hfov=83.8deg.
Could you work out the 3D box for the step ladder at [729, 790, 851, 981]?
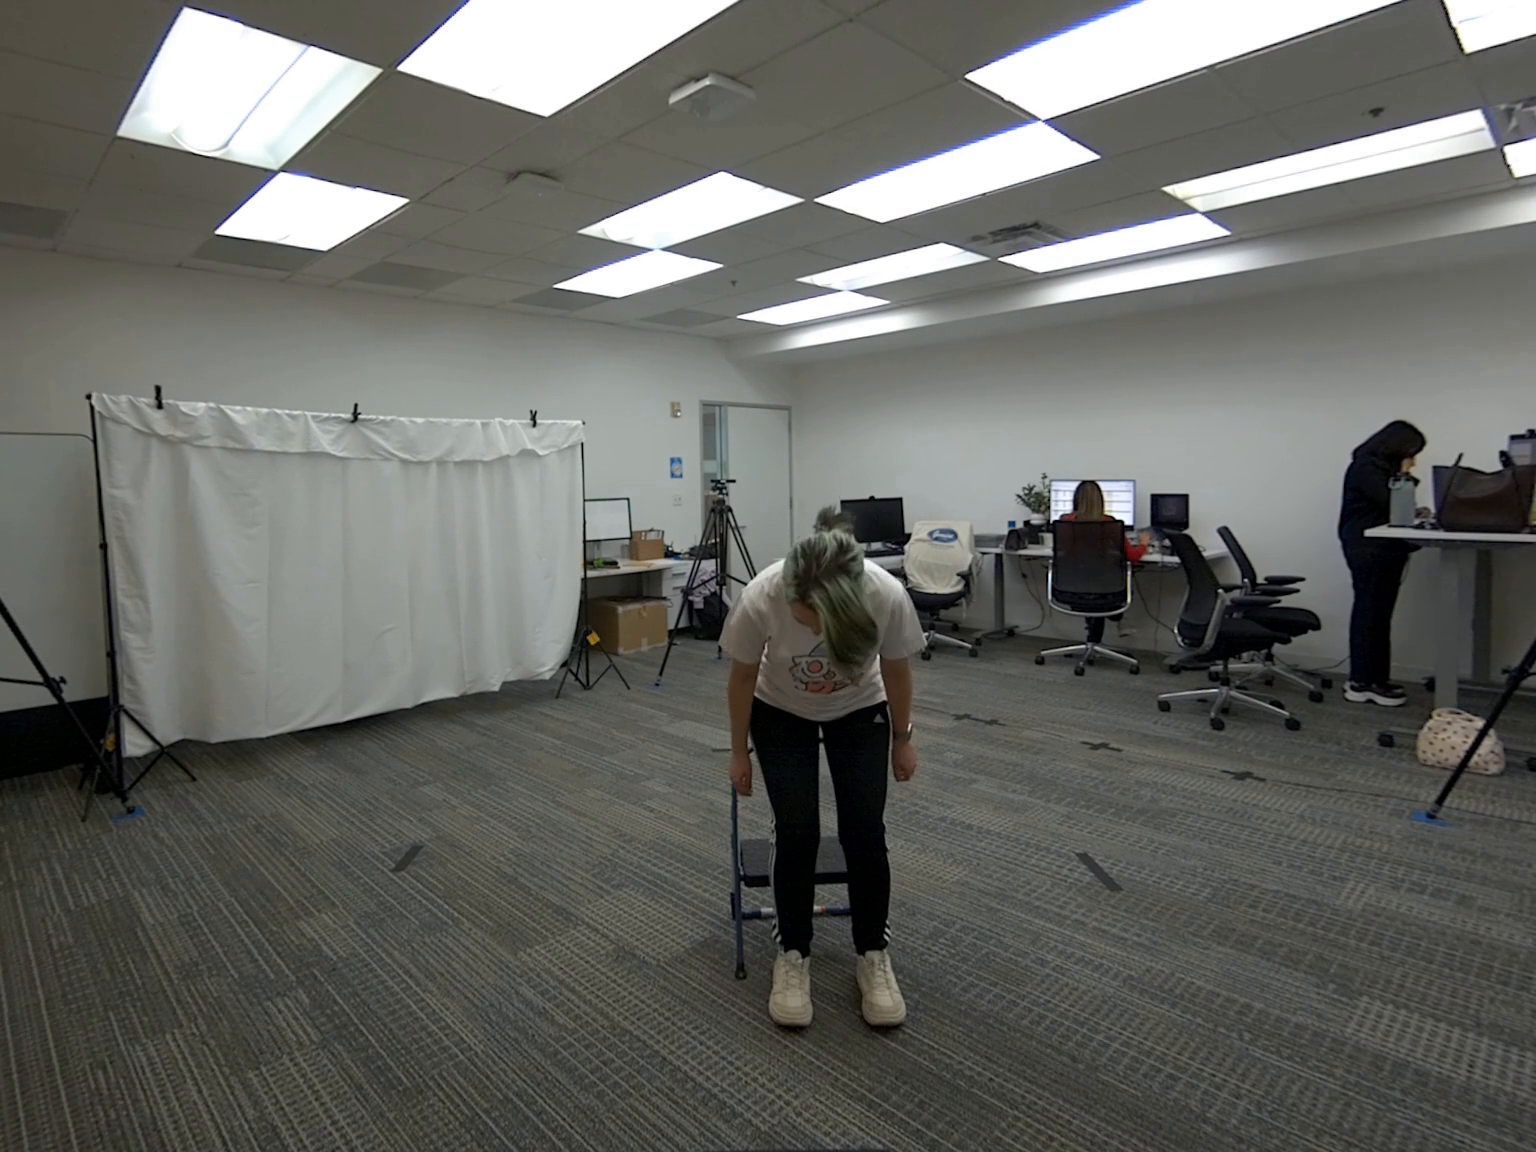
[{"bbox_3d":[0.099,0.808,2.563,0.429,0.604,0.352,-1,4,-4],"label":"step ladder"}]
